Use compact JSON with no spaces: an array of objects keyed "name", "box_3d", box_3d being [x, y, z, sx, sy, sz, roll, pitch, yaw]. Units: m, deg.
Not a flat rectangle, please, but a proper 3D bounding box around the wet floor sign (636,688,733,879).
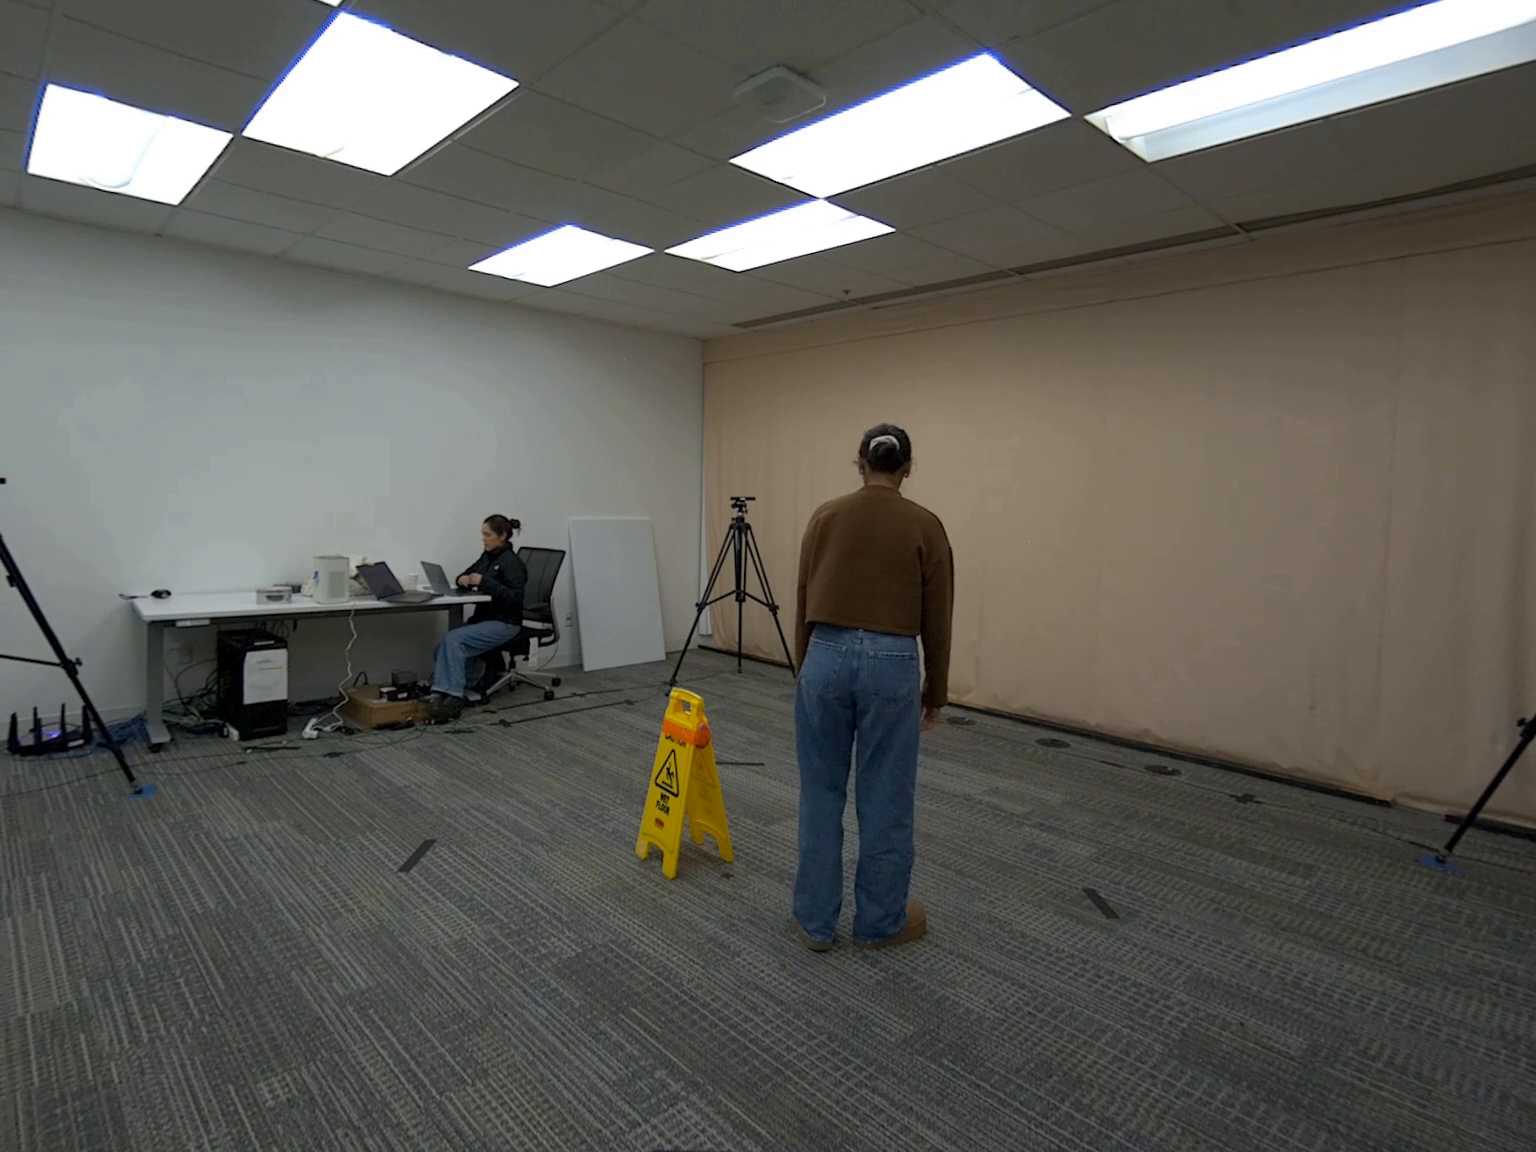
[{"name":"wet floor sign","box_3d":[-0.321,0.767,3.237,0.283,0.645,0.289,-1,4,-37]}]
